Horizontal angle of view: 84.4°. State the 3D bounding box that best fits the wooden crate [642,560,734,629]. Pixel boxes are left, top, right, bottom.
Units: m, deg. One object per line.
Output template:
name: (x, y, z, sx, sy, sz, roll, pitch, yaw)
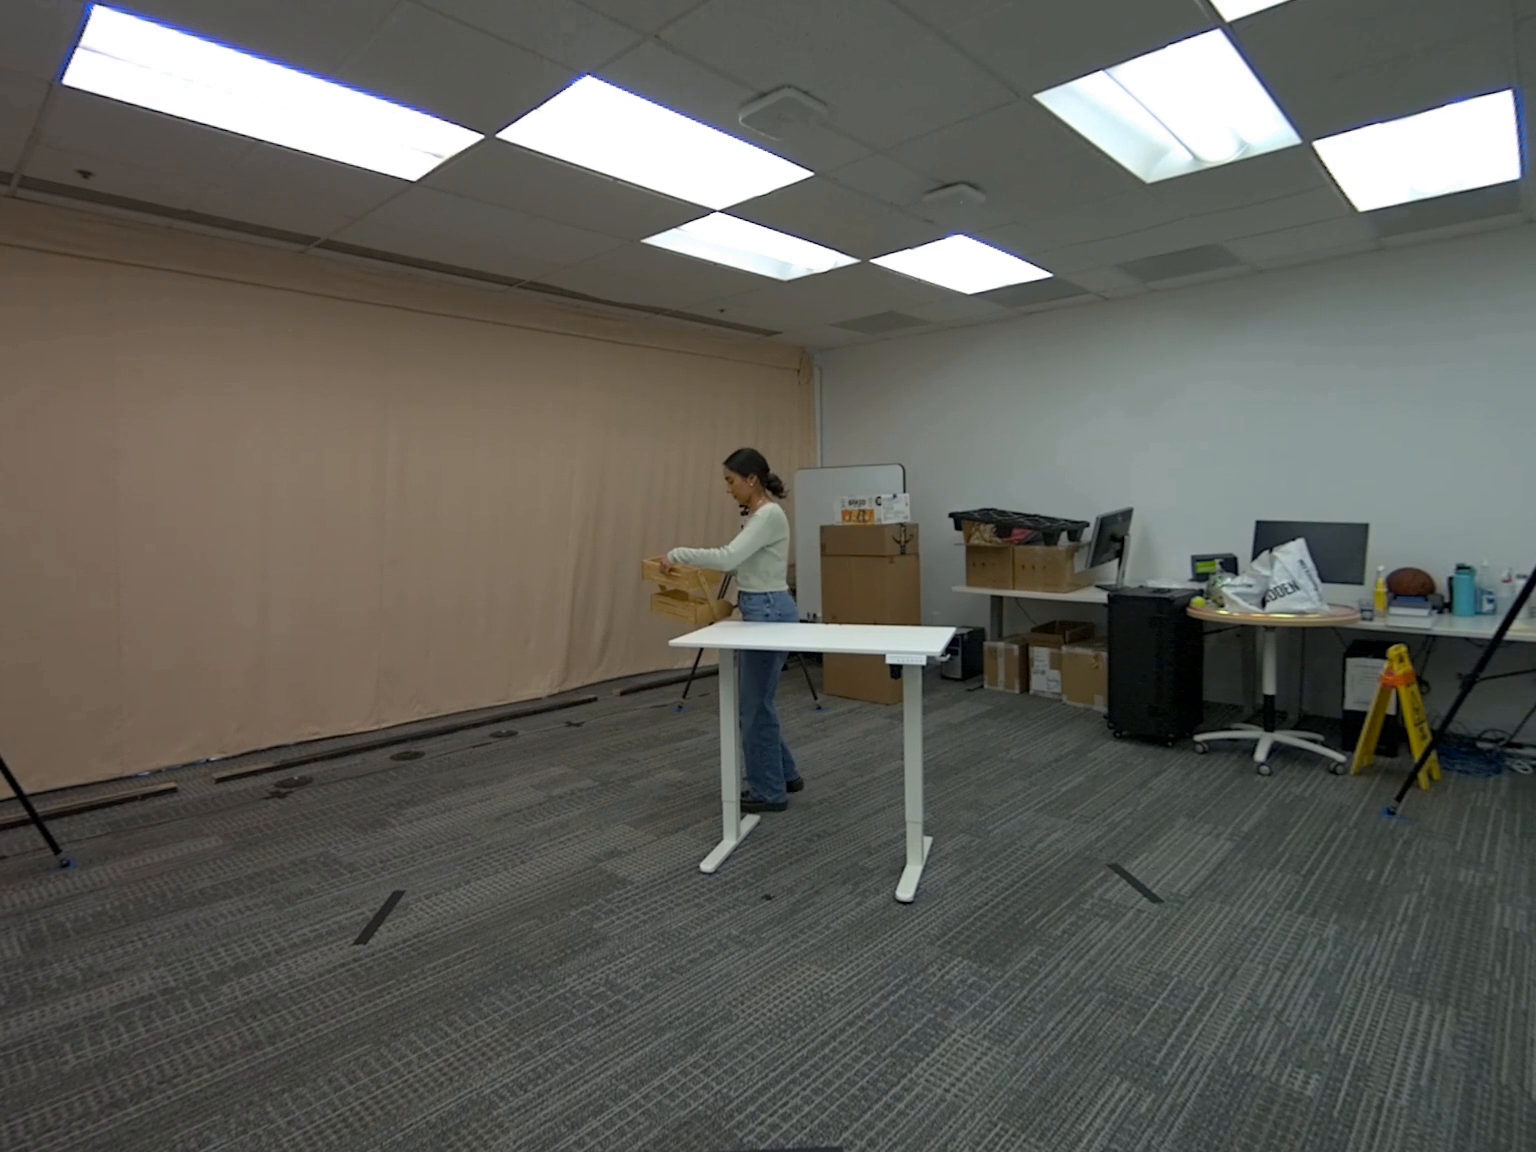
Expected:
wooden crate: (-0.361, 0.057, 3.878, 0.336, 0.271, 0.294, 11, 16, 37)
